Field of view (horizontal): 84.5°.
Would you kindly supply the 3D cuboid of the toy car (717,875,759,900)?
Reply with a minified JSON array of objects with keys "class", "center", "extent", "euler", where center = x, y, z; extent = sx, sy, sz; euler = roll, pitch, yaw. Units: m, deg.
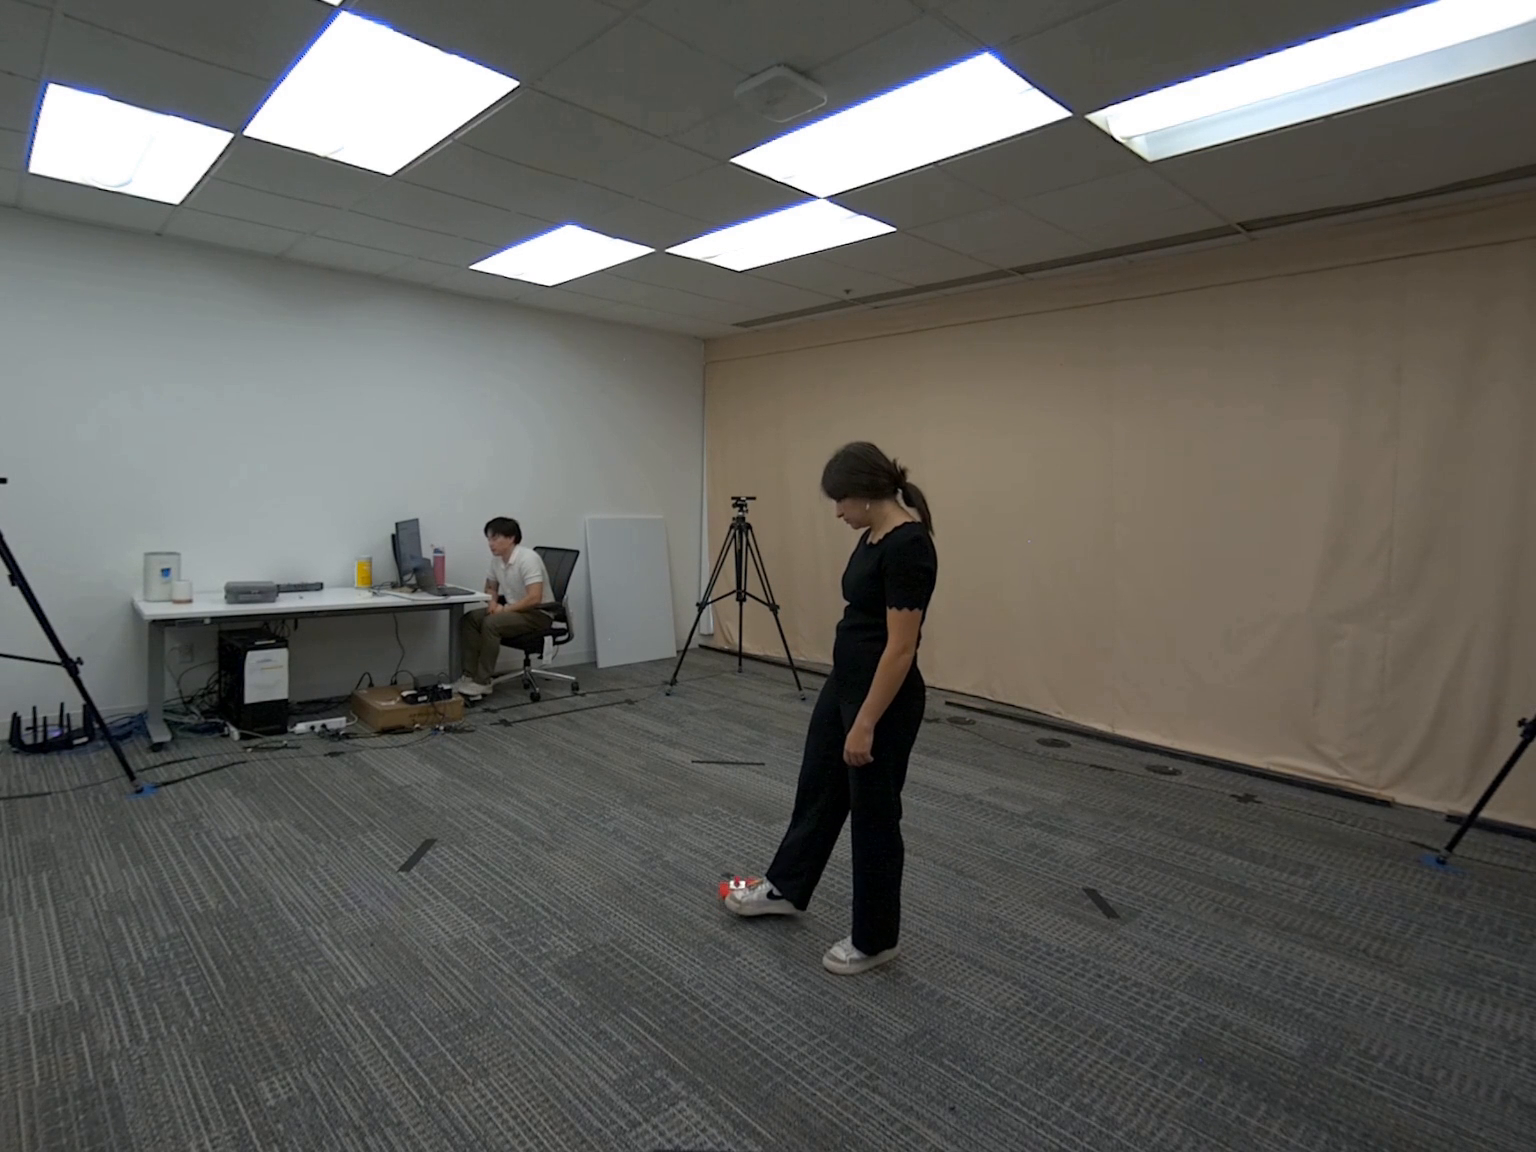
[{"class":"toy car","center":[-0.053,1.097,2.886],"extent":[0.254,0.083,0.130],"euler":[12,3,-1]}]
